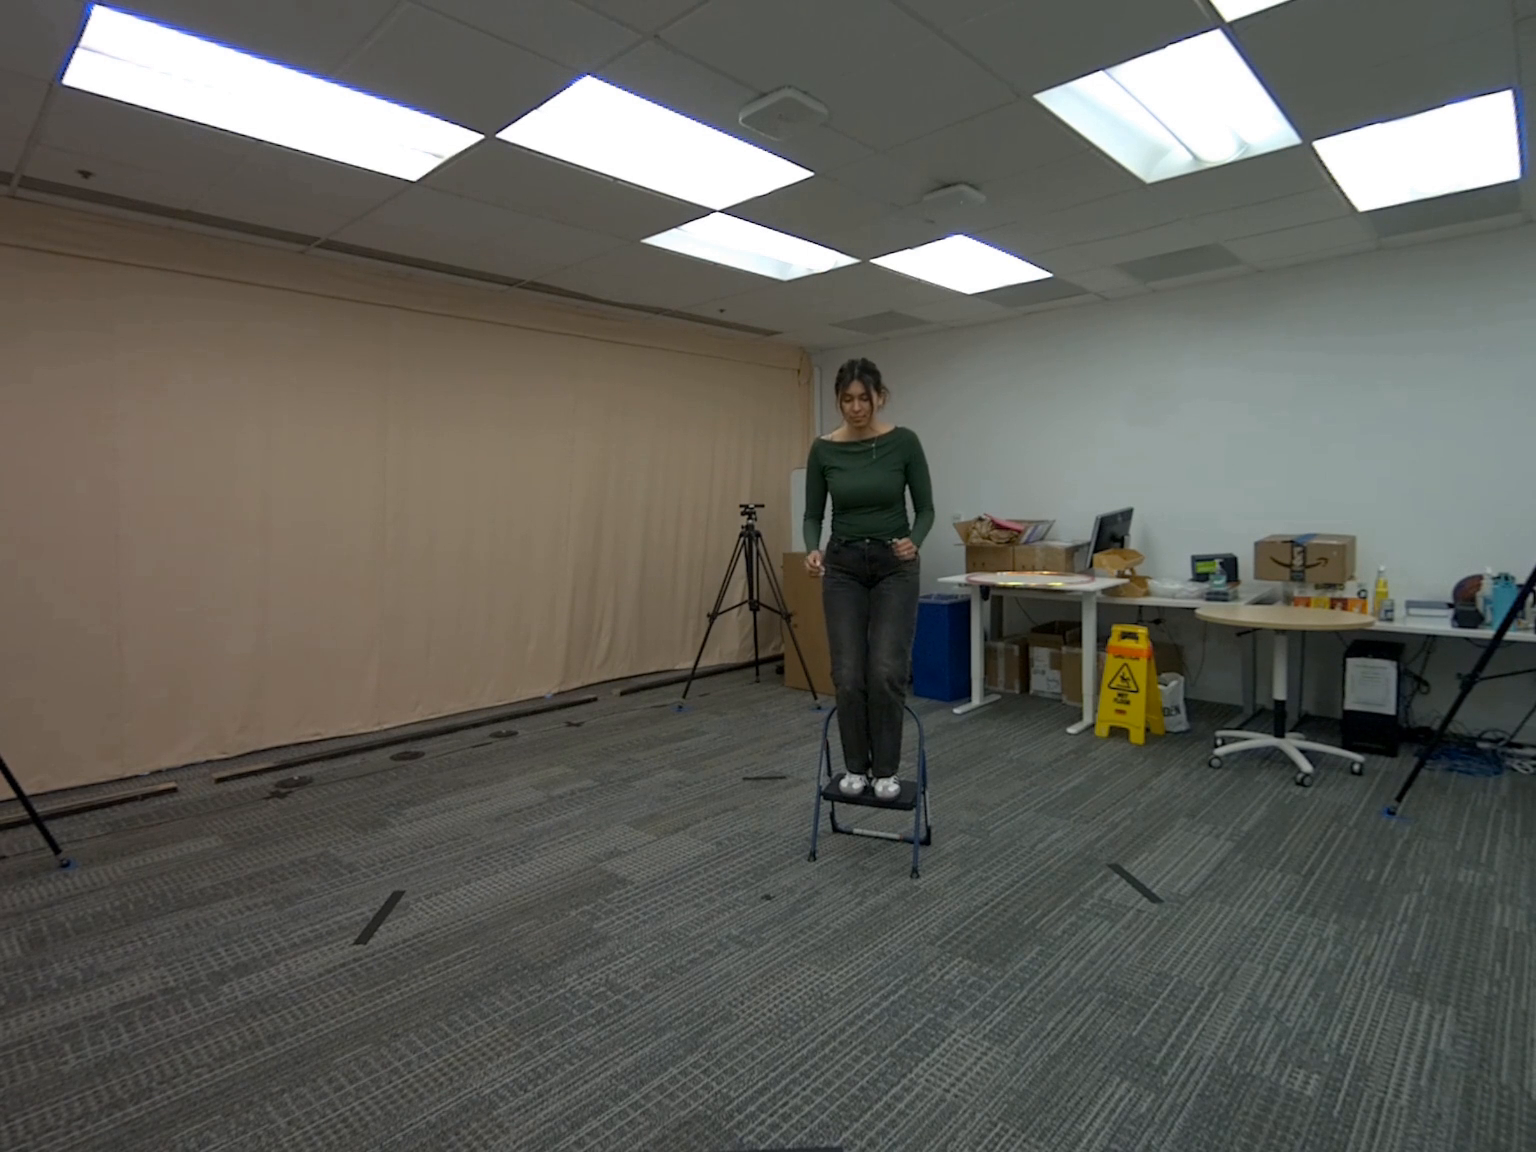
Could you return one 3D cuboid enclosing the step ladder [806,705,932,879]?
[{"bbox_3d":[0.417,0.803,3.338,0.441,0.605,0.342,1,4,22],"label":"step ladder"}]
